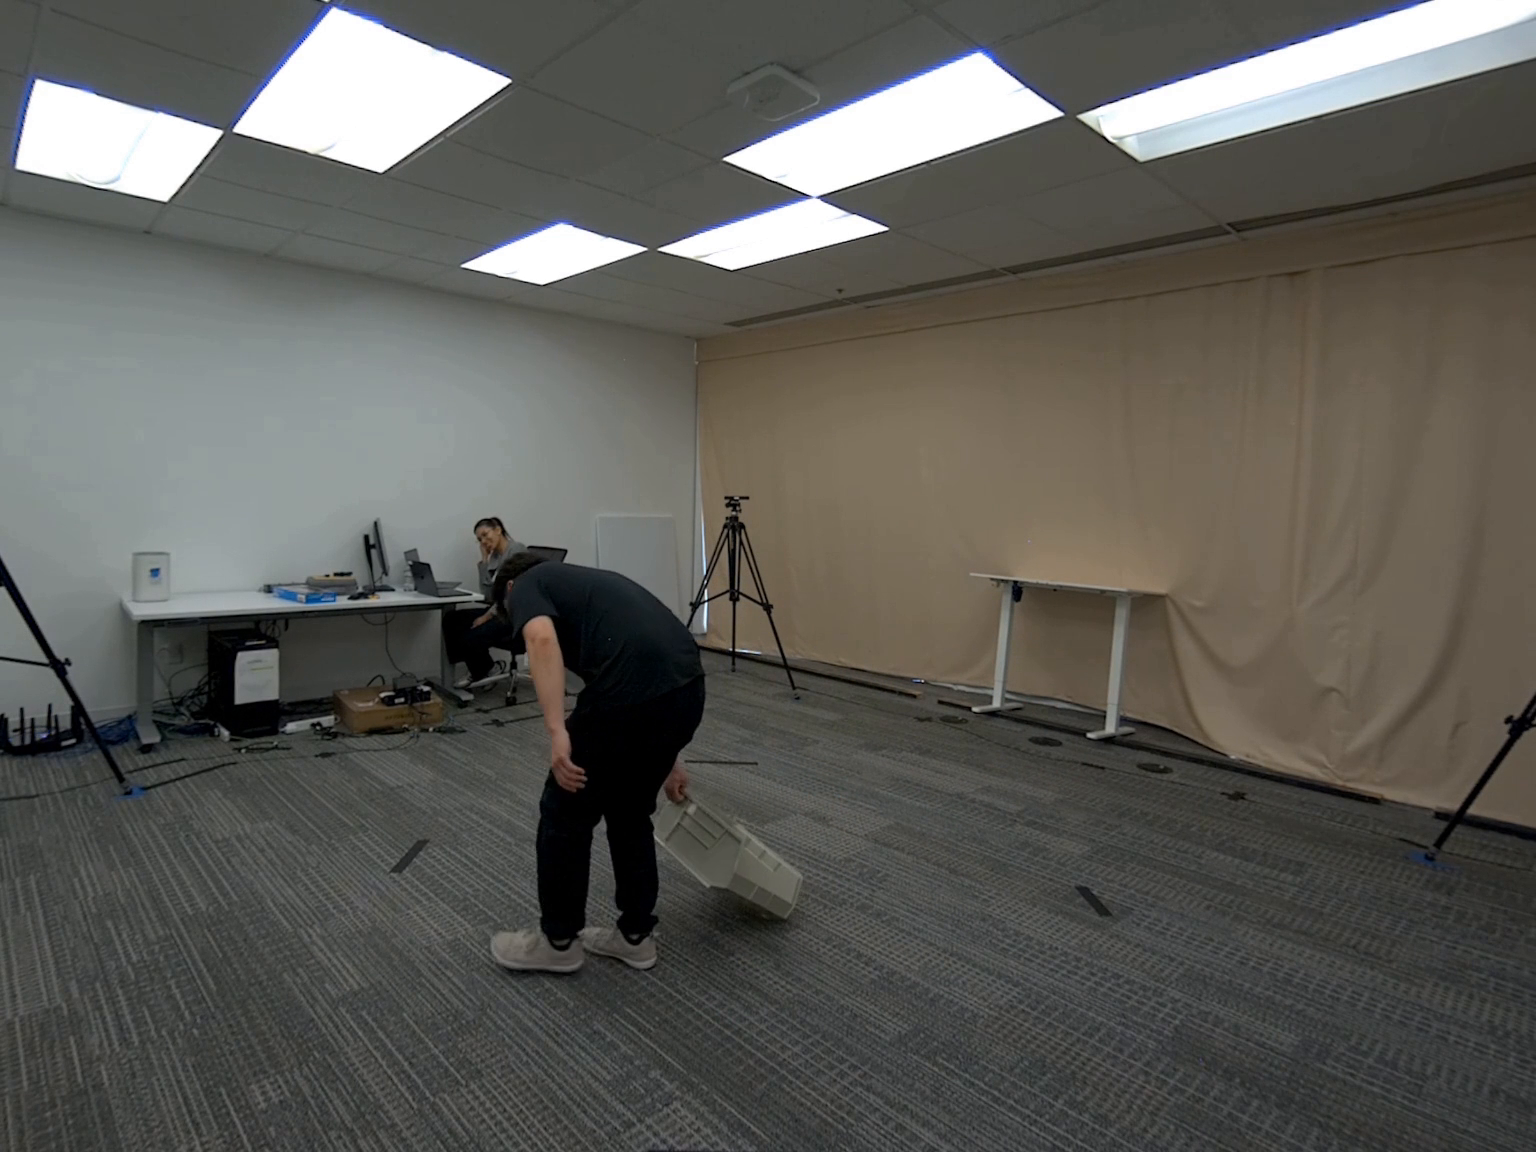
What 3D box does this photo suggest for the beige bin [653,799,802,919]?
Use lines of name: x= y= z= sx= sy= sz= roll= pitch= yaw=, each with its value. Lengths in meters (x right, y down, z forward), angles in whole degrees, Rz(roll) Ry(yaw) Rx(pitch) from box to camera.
beige bin: x=-0.138 y=0.921 z=2.749 sx=0.389 sy=0.189 sz=0.409 roll=25 pitch=-14 yaw=43
